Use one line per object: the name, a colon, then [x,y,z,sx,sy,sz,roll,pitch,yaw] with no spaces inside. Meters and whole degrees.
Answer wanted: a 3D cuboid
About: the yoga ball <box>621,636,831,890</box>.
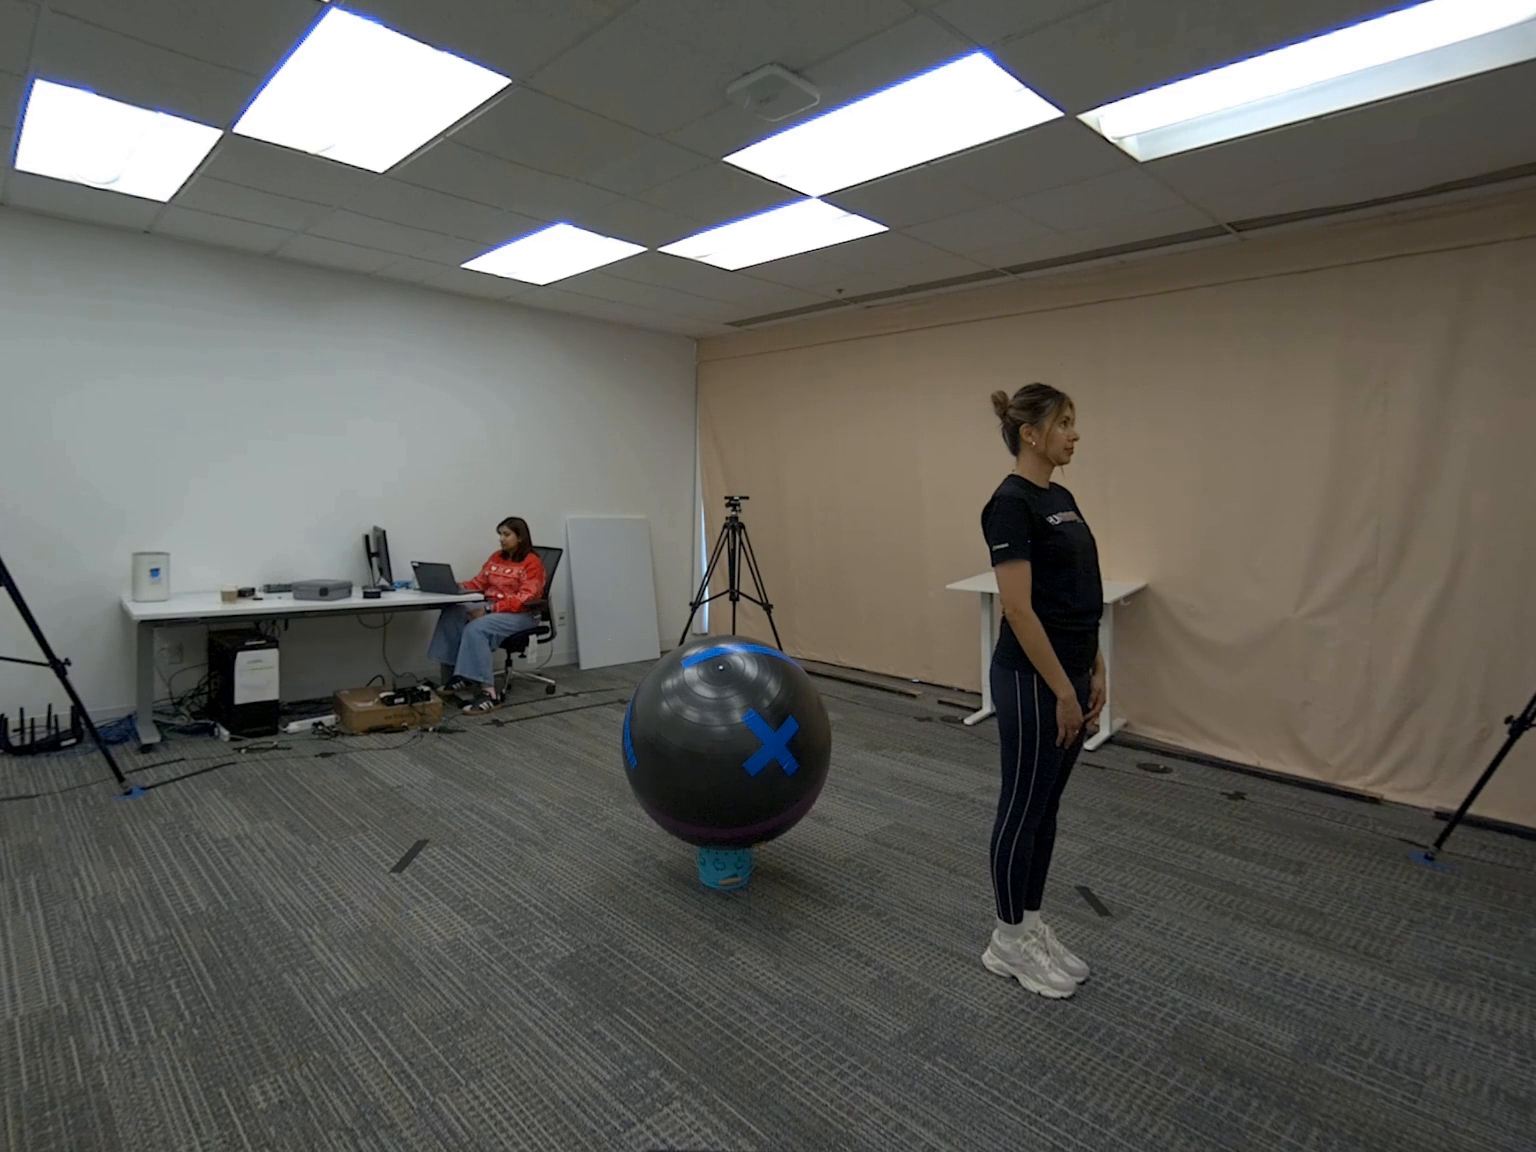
yoga ball: [-0.154,0.599,3.050,0.757,0.756,0.761,1,4,-1]
